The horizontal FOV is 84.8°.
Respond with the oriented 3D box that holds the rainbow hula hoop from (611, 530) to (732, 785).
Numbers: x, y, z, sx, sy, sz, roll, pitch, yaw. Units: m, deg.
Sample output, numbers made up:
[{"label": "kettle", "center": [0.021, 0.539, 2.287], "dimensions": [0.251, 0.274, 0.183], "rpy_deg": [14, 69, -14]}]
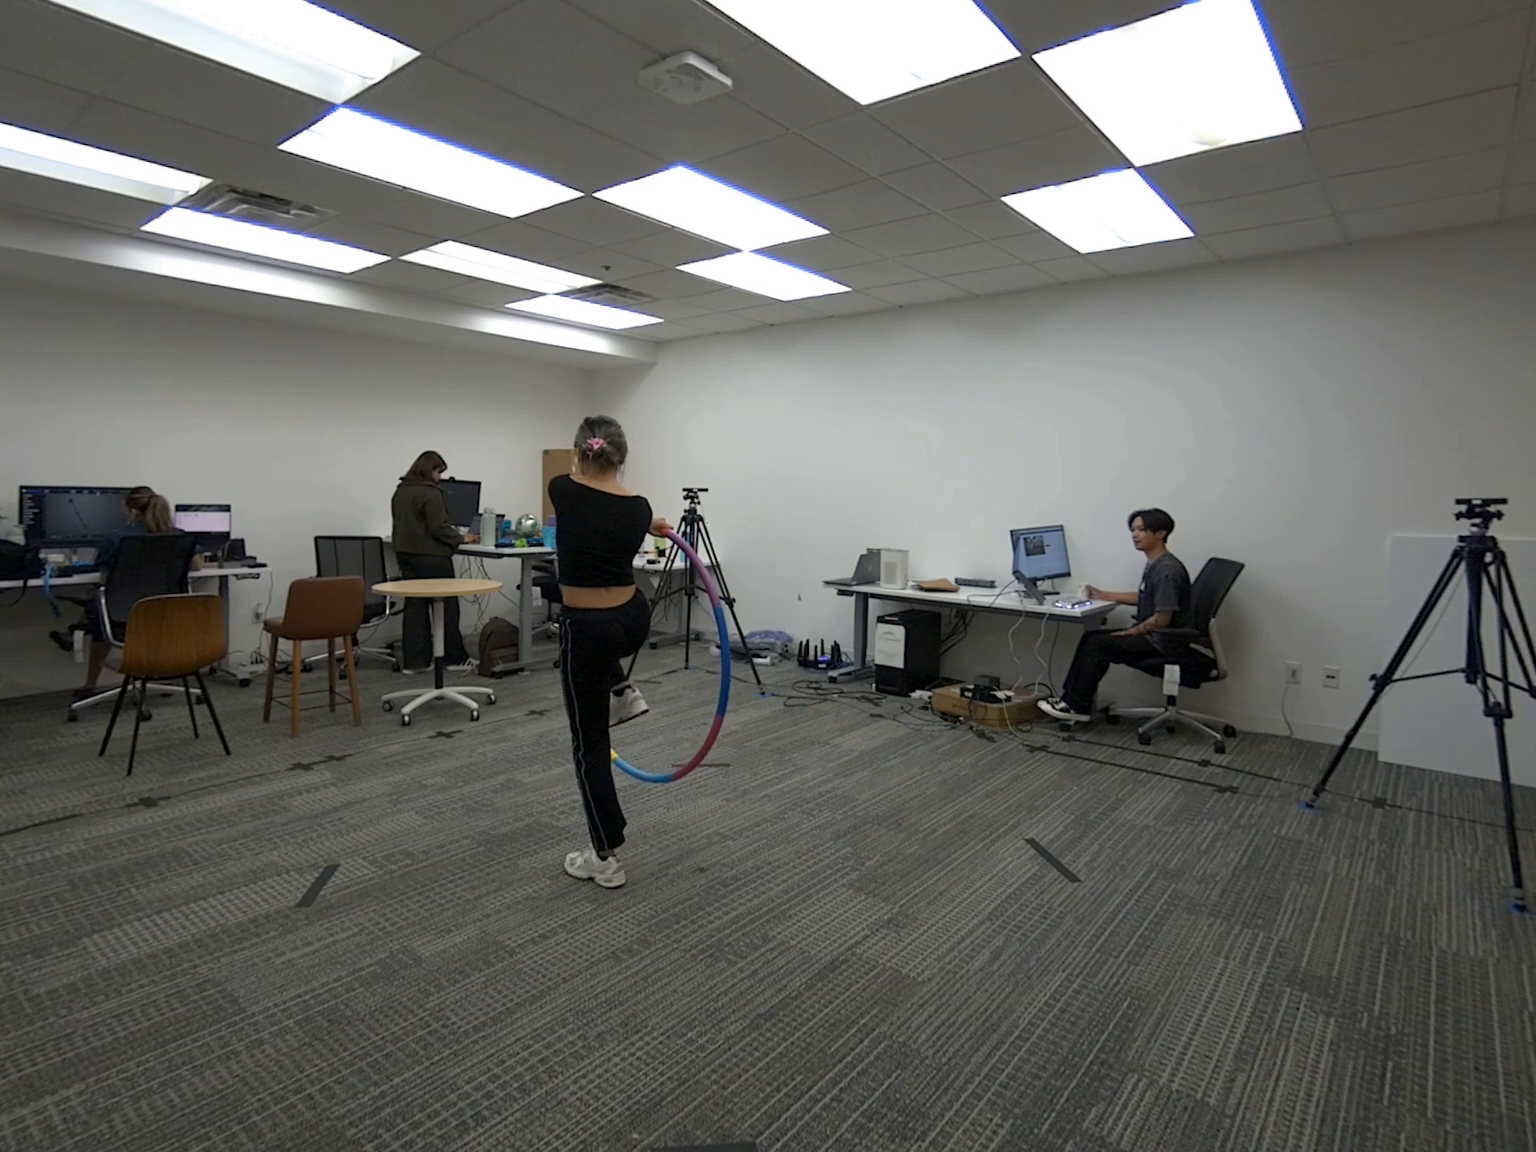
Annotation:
[{"label": "rainbow hula hoop", "center": [-0.507, 0.284, 3.267], "dimensions": [0.034, 0.976, 1.012], "rpy_deg": [-1, 5, -44]}]
